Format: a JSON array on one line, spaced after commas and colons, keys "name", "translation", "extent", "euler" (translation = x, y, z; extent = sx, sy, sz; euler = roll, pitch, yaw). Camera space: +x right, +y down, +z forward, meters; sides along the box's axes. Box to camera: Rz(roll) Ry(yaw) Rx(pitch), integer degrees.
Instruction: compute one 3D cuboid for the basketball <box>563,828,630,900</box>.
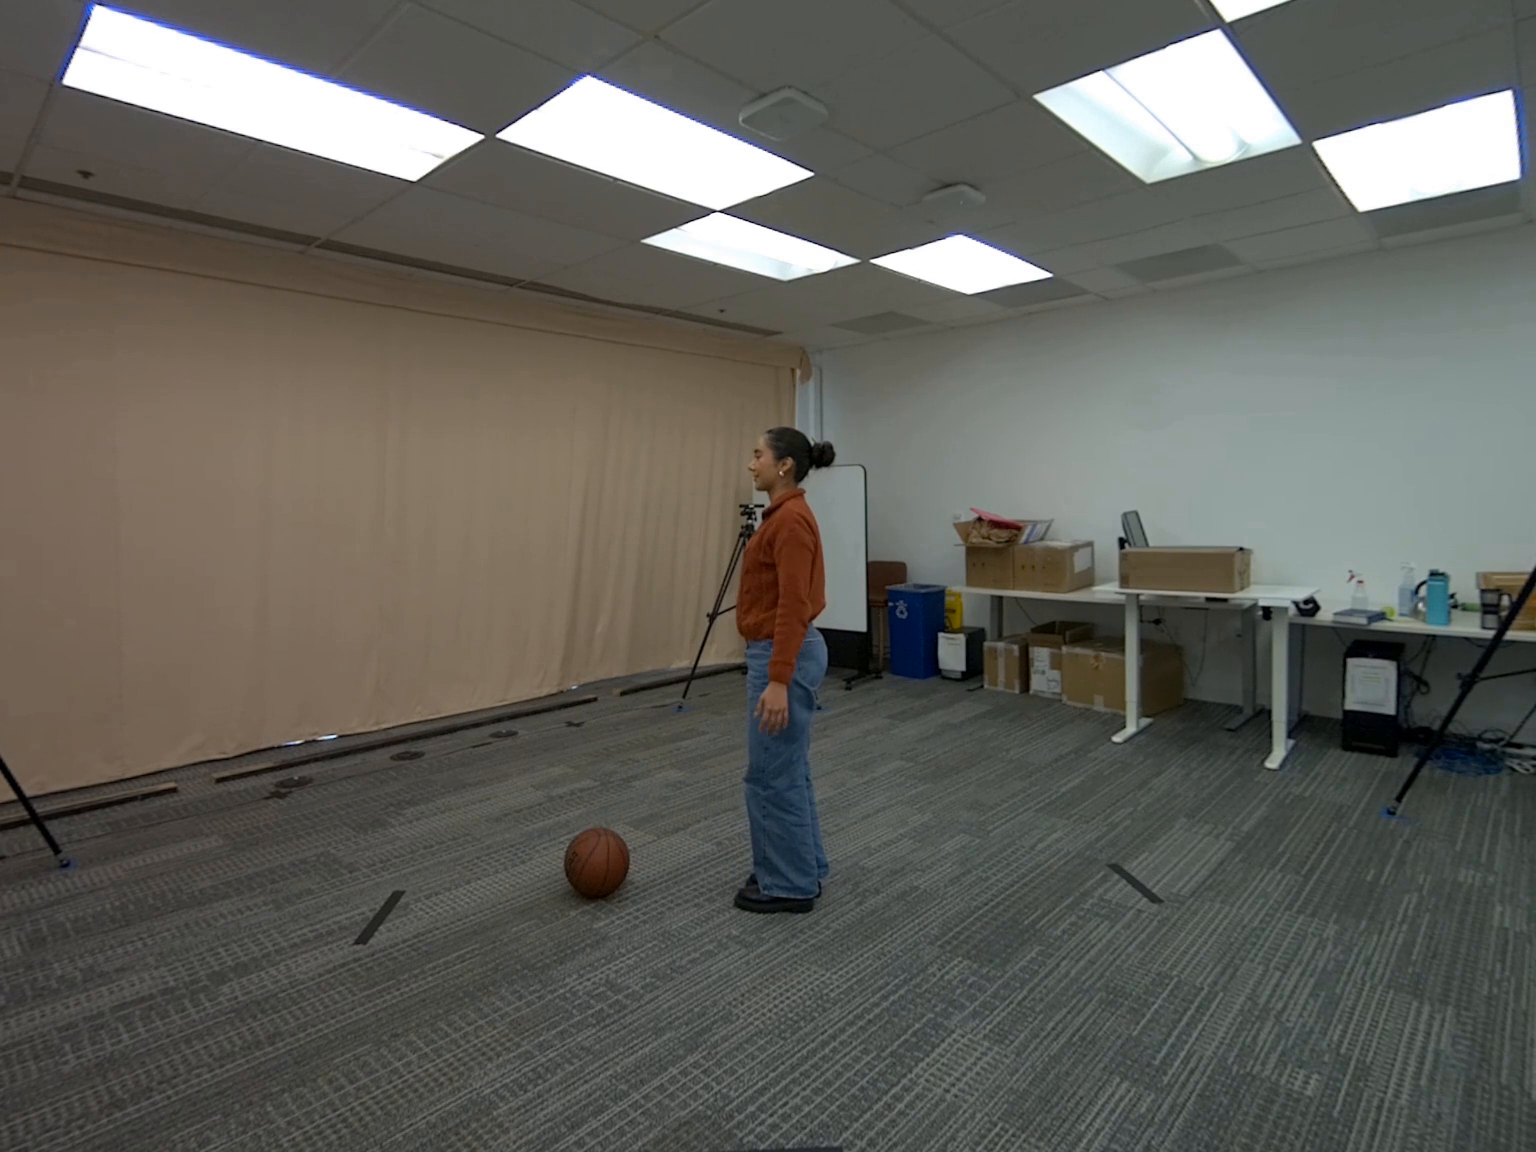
[{"name": "basketball", "translation": [-0.618, 1.032, 3.039], "extent": [0.236, 0.235, 0.237], "euler": [-1, 4, -2]}]
